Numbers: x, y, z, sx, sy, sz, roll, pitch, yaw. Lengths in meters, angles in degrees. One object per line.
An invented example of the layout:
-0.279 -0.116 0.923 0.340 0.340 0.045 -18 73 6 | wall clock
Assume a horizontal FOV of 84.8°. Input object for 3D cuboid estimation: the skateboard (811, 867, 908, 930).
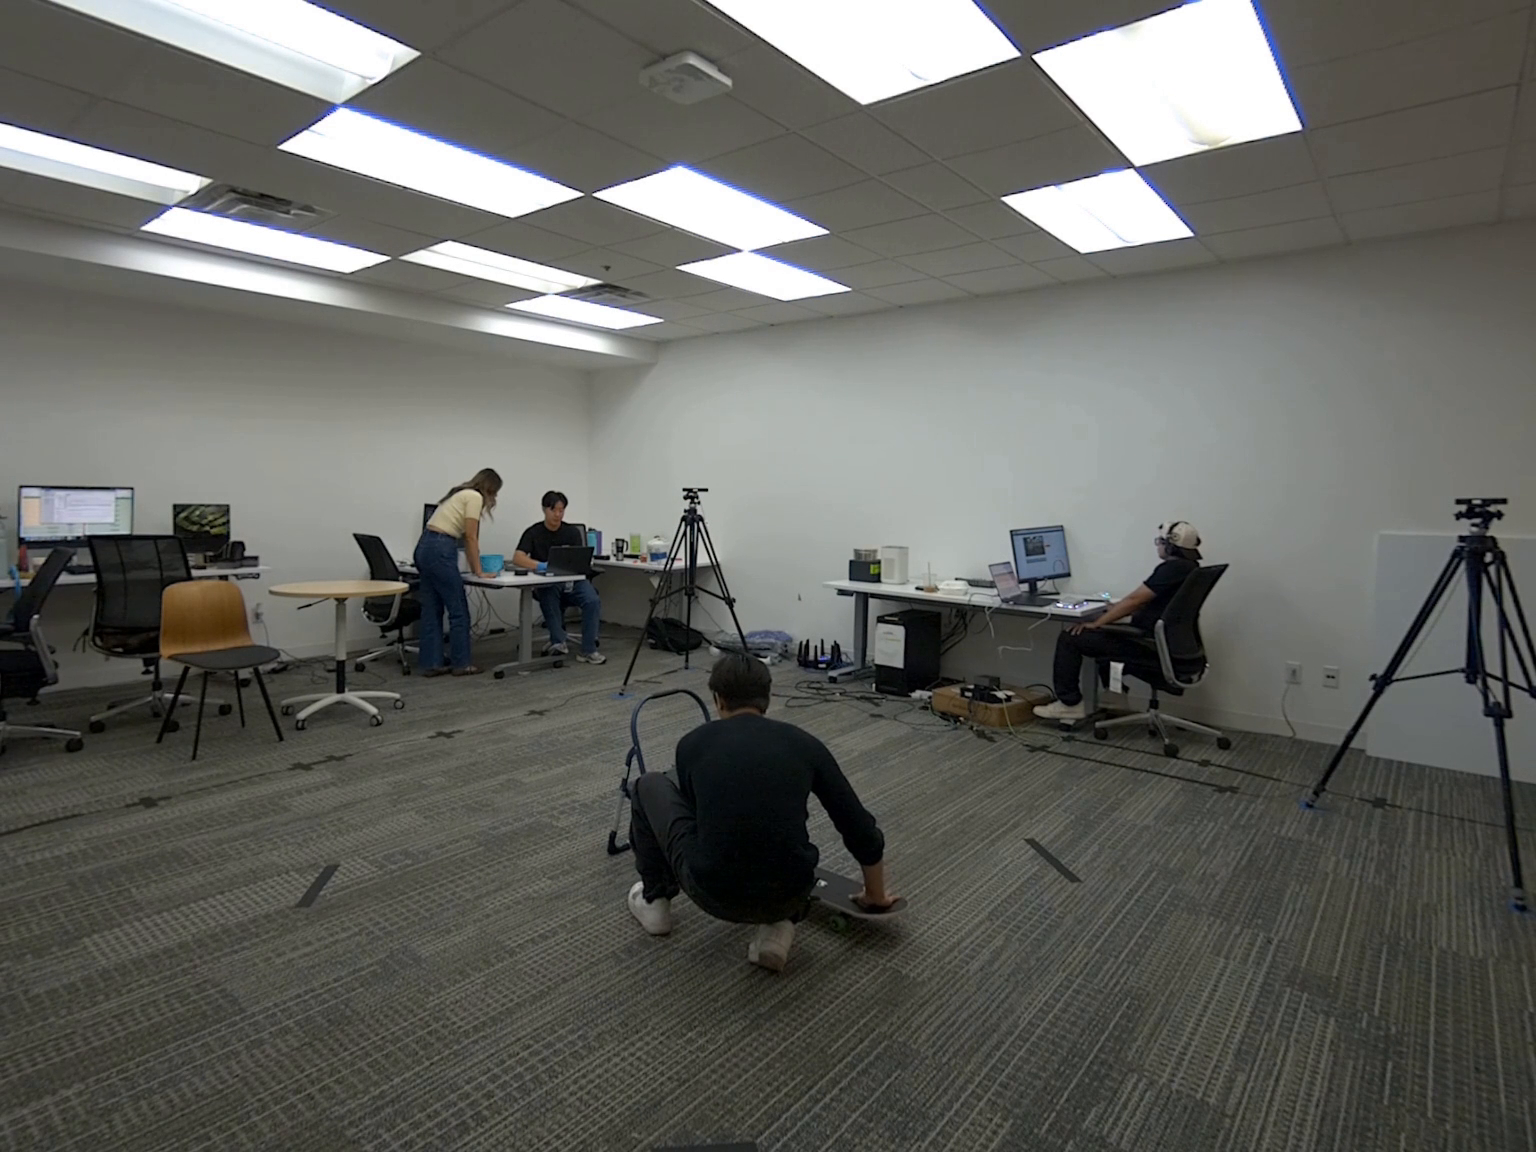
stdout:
0.094 1.040 2.874 0.812 0.110 0.188 6 6 39 | skateboard
